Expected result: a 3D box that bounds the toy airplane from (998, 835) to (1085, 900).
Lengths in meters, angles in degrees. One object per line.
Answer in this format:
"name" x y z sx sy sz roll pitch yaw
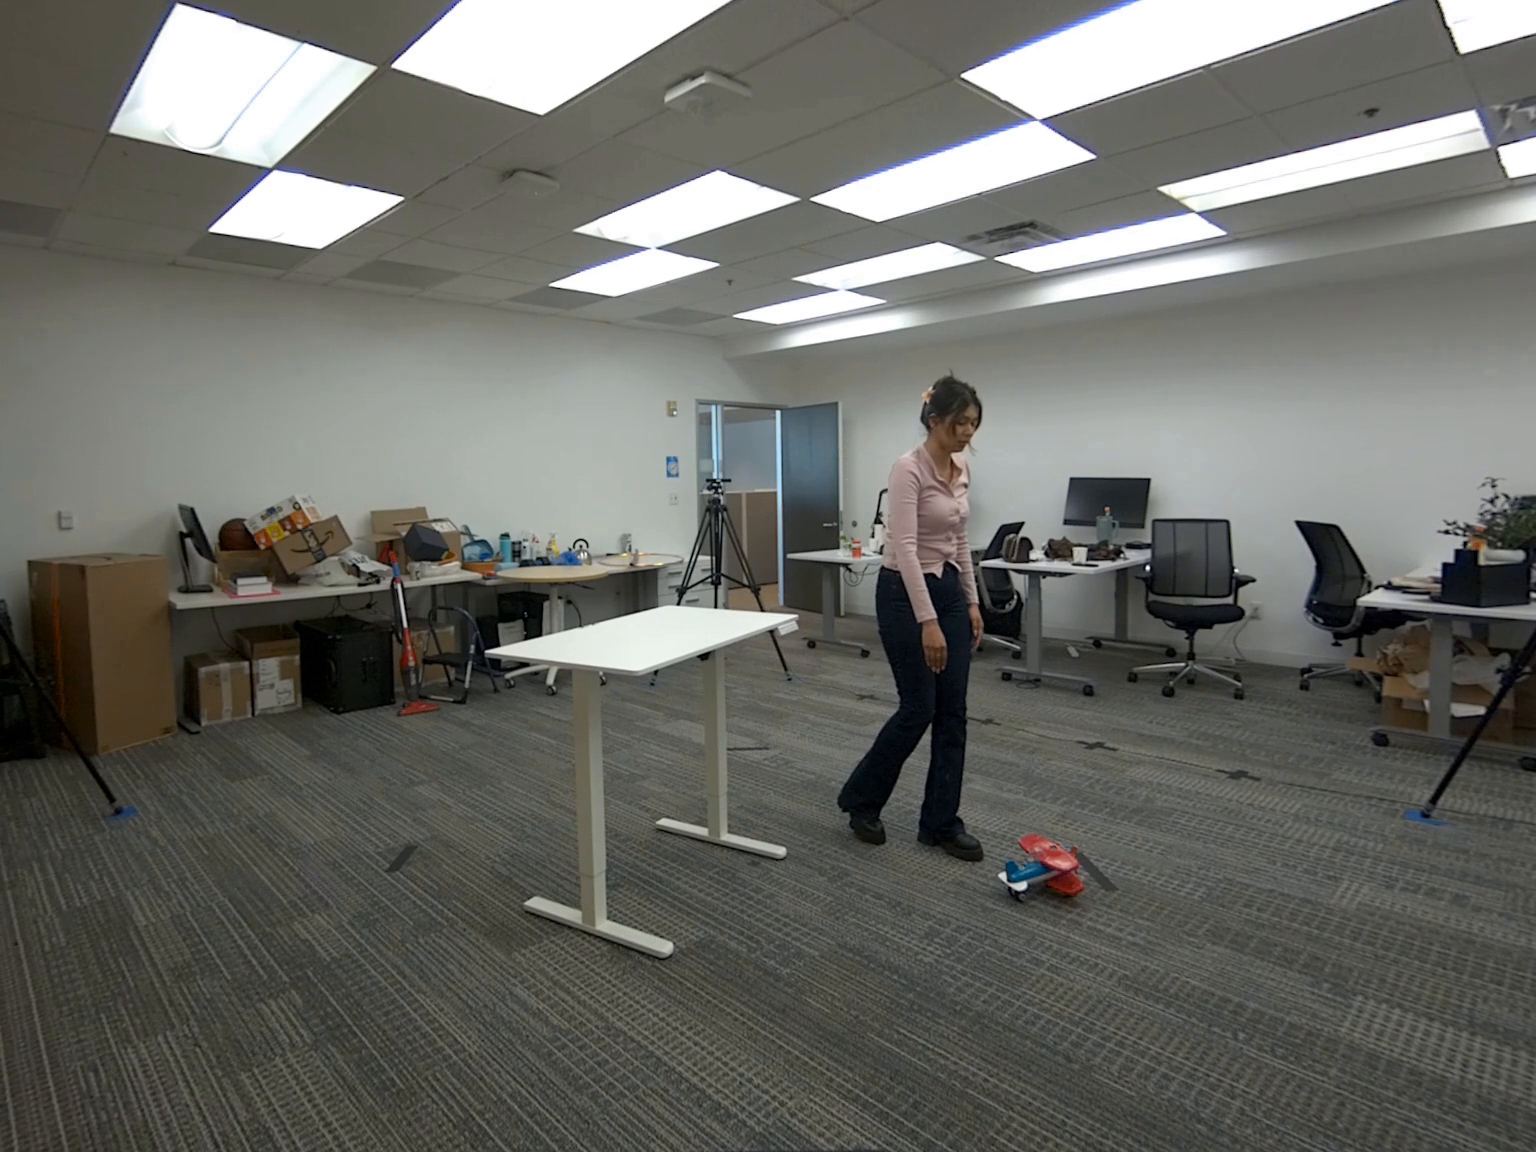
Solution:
"toy airplane" 0.916 0.987 2.823 0.259 0.156 0.252 5 7 43
